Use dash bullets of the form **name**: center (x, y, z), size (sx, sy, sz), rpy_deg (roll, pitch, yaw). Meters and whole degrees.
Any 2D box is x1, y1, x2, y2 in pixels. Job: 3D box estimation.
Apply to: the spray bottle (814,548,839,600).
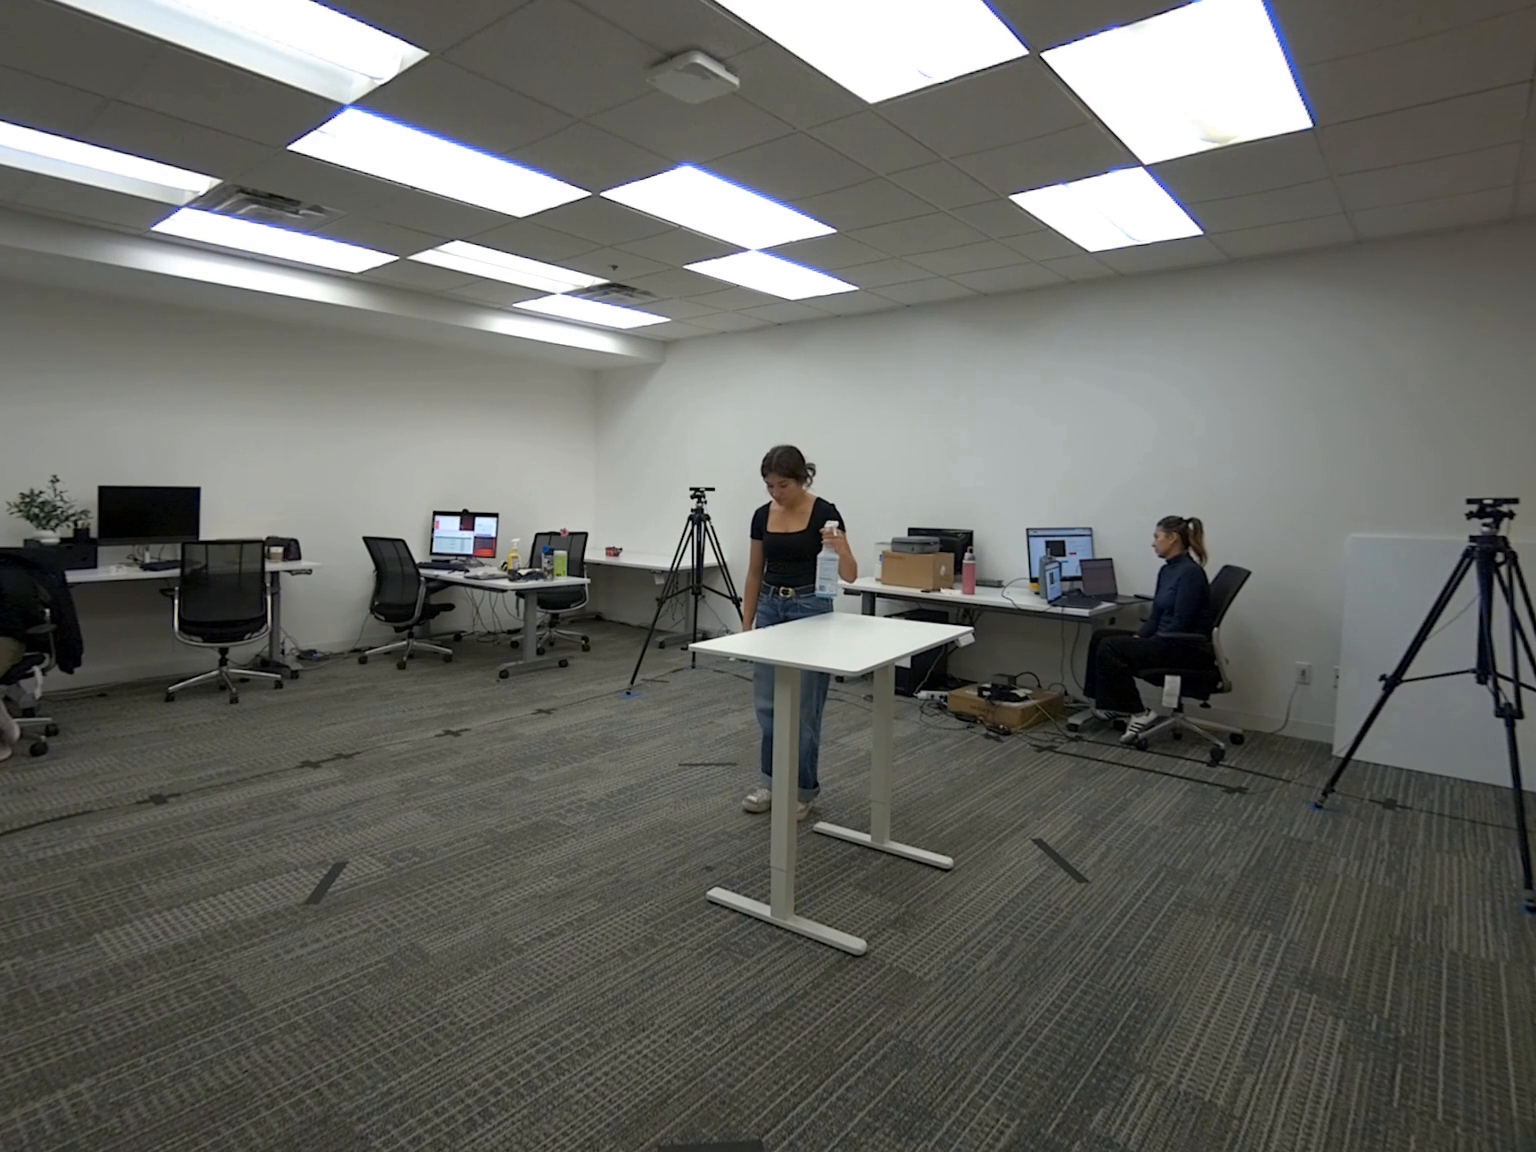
- **spray bottle**: center (0.228, -0.069, 3.320), size (0.087, 0.295, 0.090), rpy_deg (2, 8, 4)
